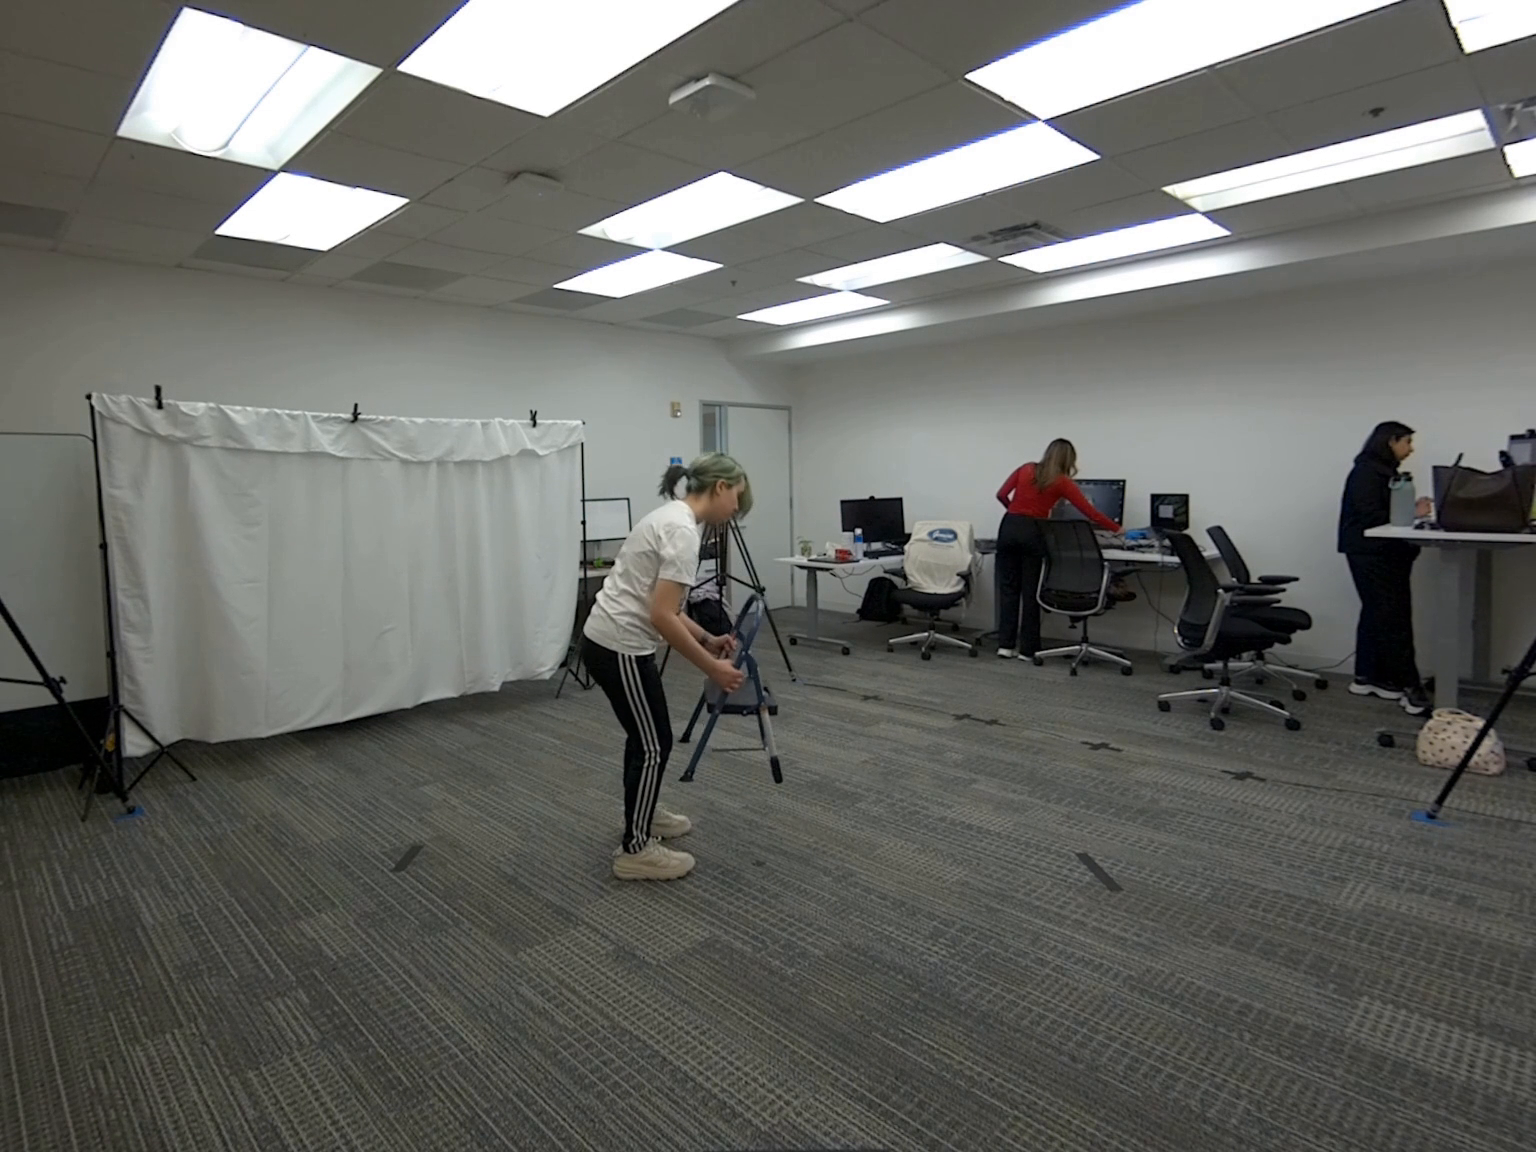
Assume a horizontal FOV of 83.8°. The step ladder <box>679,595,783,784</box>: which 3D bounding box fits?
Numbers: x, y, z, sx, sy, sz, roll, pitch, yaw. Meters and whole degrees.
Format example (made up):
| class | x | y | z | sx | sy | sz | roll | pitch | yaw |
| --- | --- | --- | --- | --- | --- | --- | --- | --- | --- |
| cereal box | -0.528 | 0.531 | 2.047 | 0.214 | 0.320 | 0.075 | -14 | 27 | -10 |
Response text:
| class | x | y | z | sx | sy | sz | roll | pitch | yaw |
| --- | --- | --- | --- | --- | --- | --- | --- | --- | --- |
| step ladder | -0.131 | 0.380 | 3.048 | 0.347 | 0.603 | 0.435 | 2 | 5 | -7 |
